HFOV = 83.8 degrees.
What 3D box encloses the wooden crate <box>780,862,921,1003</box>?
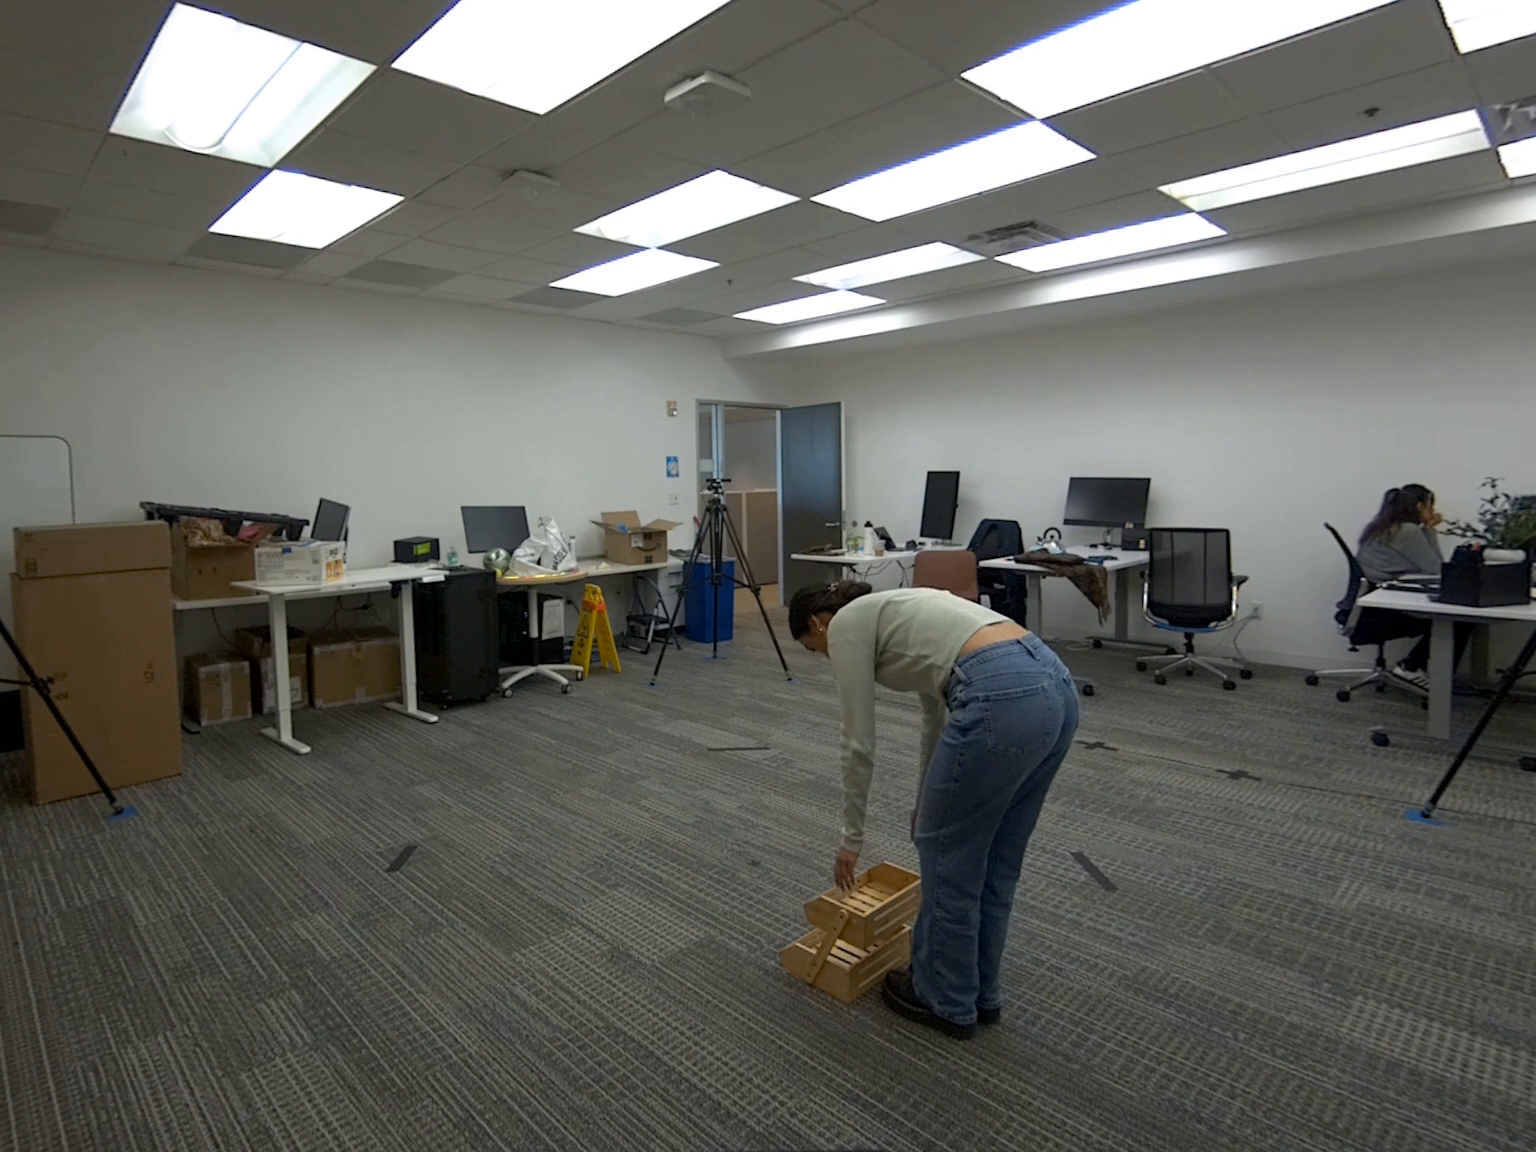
[{"bbox_3d":[0.249,0.983,2.430,0.311,0.272,0.316,5,8,43],"label":"wooden crate"}]
